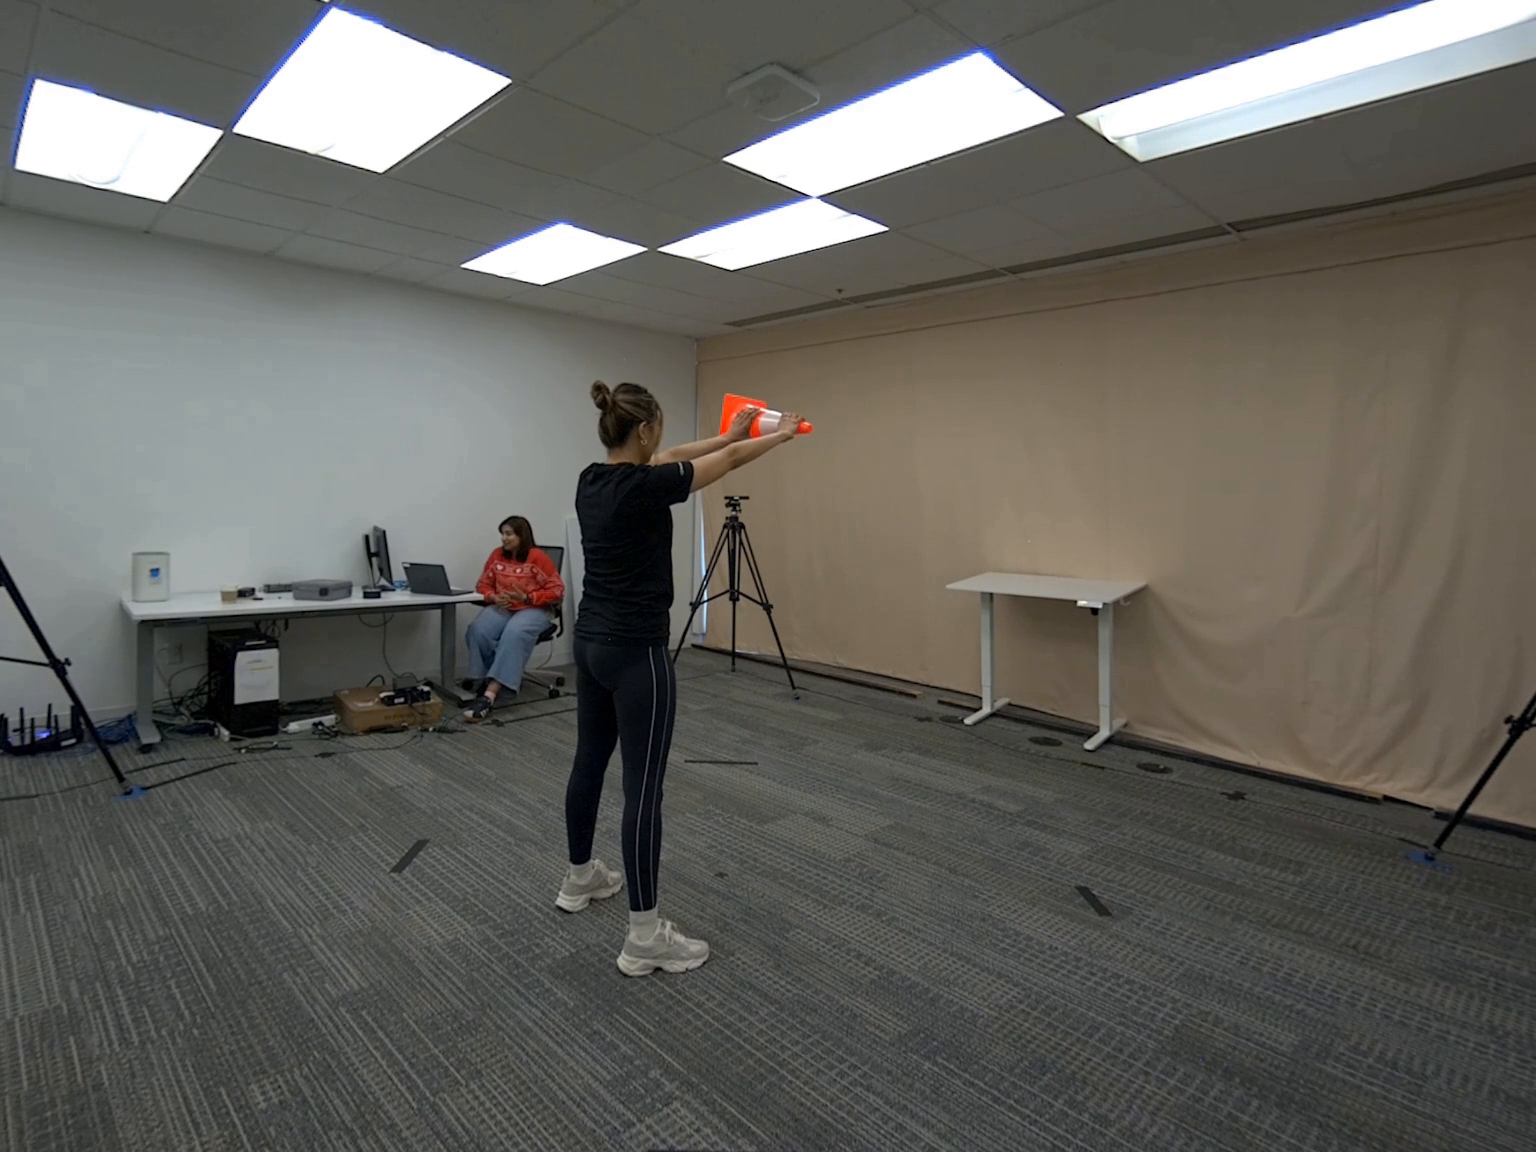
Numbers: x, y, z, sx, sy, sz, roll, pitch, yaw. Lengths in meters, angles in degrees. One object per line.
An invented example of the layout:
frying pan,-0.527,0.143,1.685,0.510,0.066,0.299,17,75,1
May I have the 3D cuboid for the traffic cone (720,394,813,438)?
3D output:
traffic cone,0.013,-0.532,3.008,0.198,0.204,0.394,5,8,-38
